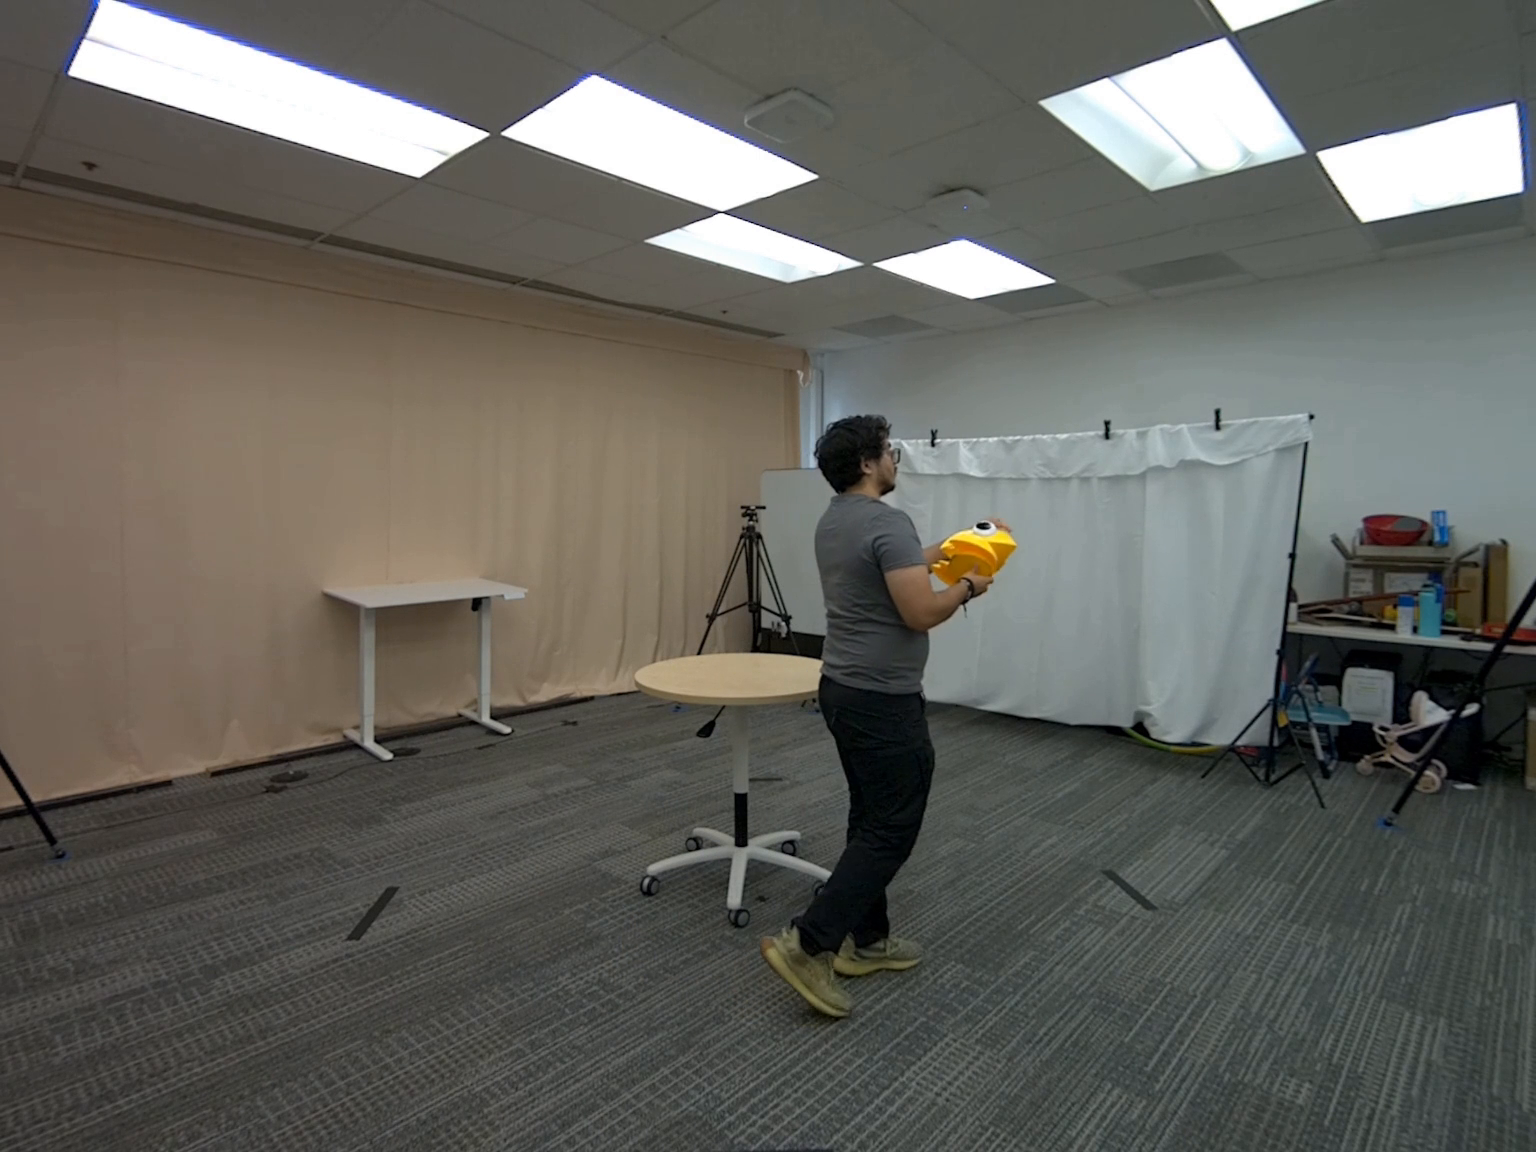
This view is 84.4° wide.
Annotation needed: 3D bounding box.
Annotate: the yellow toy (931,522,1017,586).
[{"bbox_3d":[0.644,-0.096,2.585,0.194,0.204,0.230,29,50,5],"label":"yellow toy"}]
